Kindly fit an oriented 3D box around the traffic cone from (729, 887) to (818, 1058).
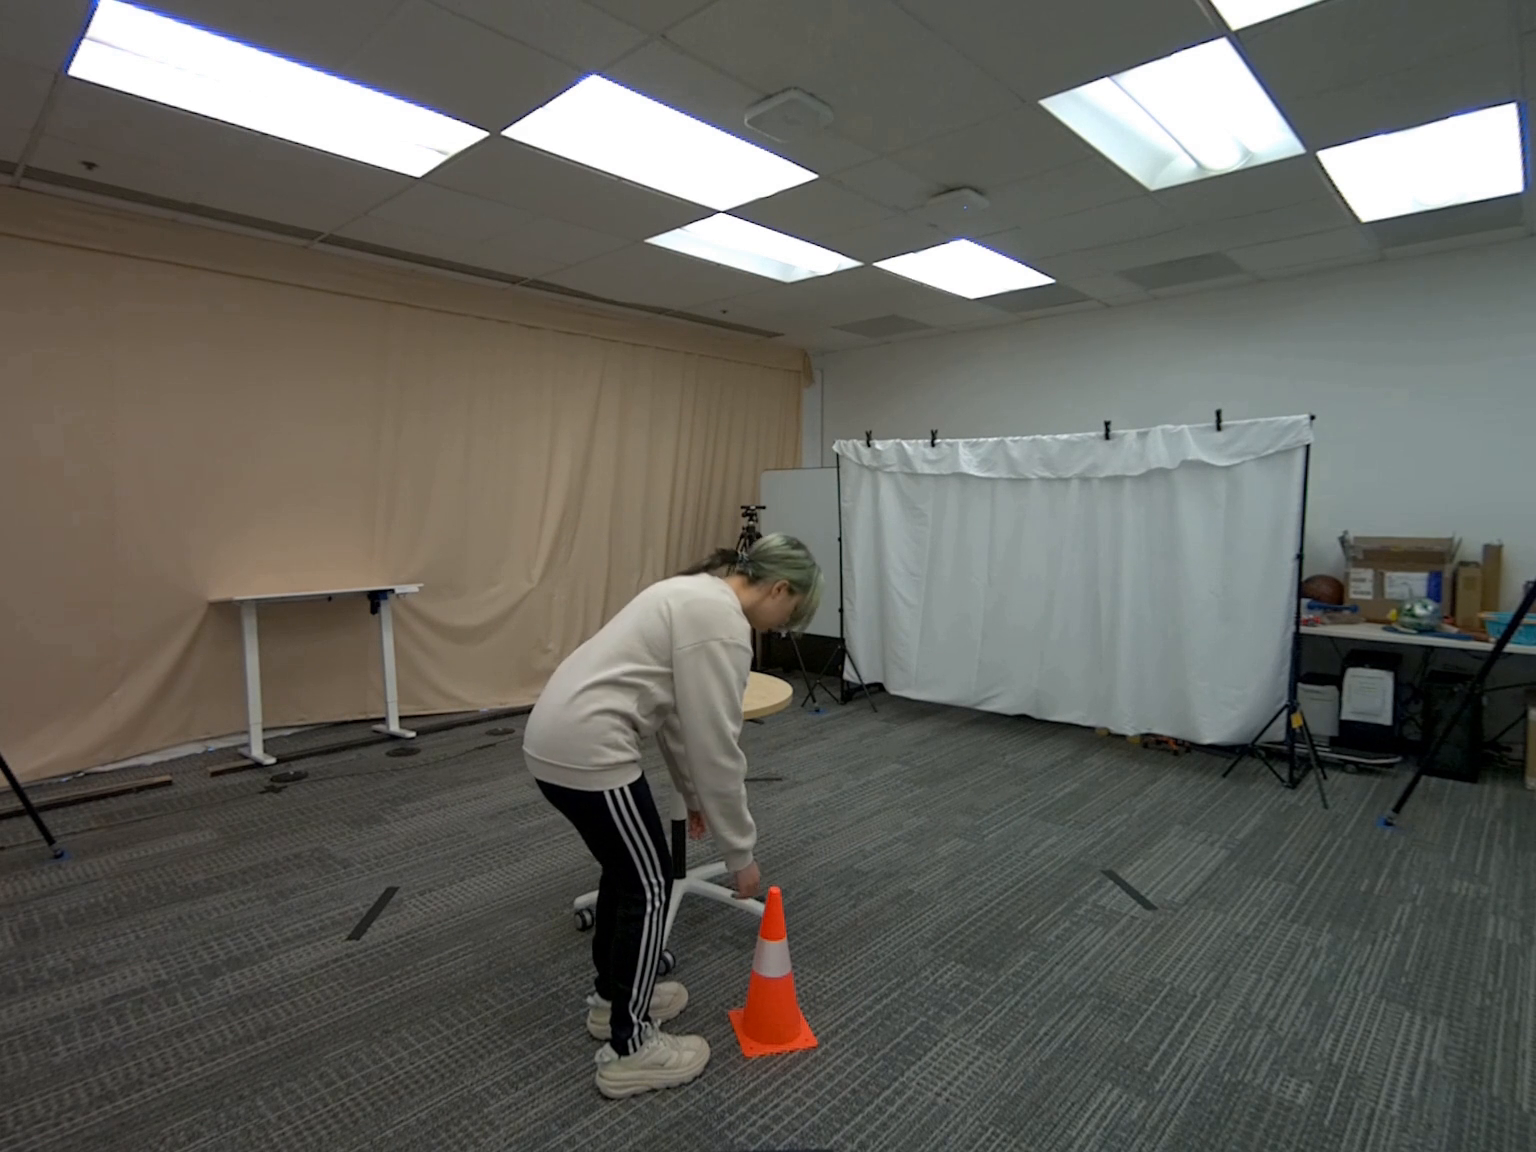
[{"bbox_3d":[0.007,1.022,2.225,0.201,0.382,0.208,-2,5,-12],"label":"traffic cone"}]
